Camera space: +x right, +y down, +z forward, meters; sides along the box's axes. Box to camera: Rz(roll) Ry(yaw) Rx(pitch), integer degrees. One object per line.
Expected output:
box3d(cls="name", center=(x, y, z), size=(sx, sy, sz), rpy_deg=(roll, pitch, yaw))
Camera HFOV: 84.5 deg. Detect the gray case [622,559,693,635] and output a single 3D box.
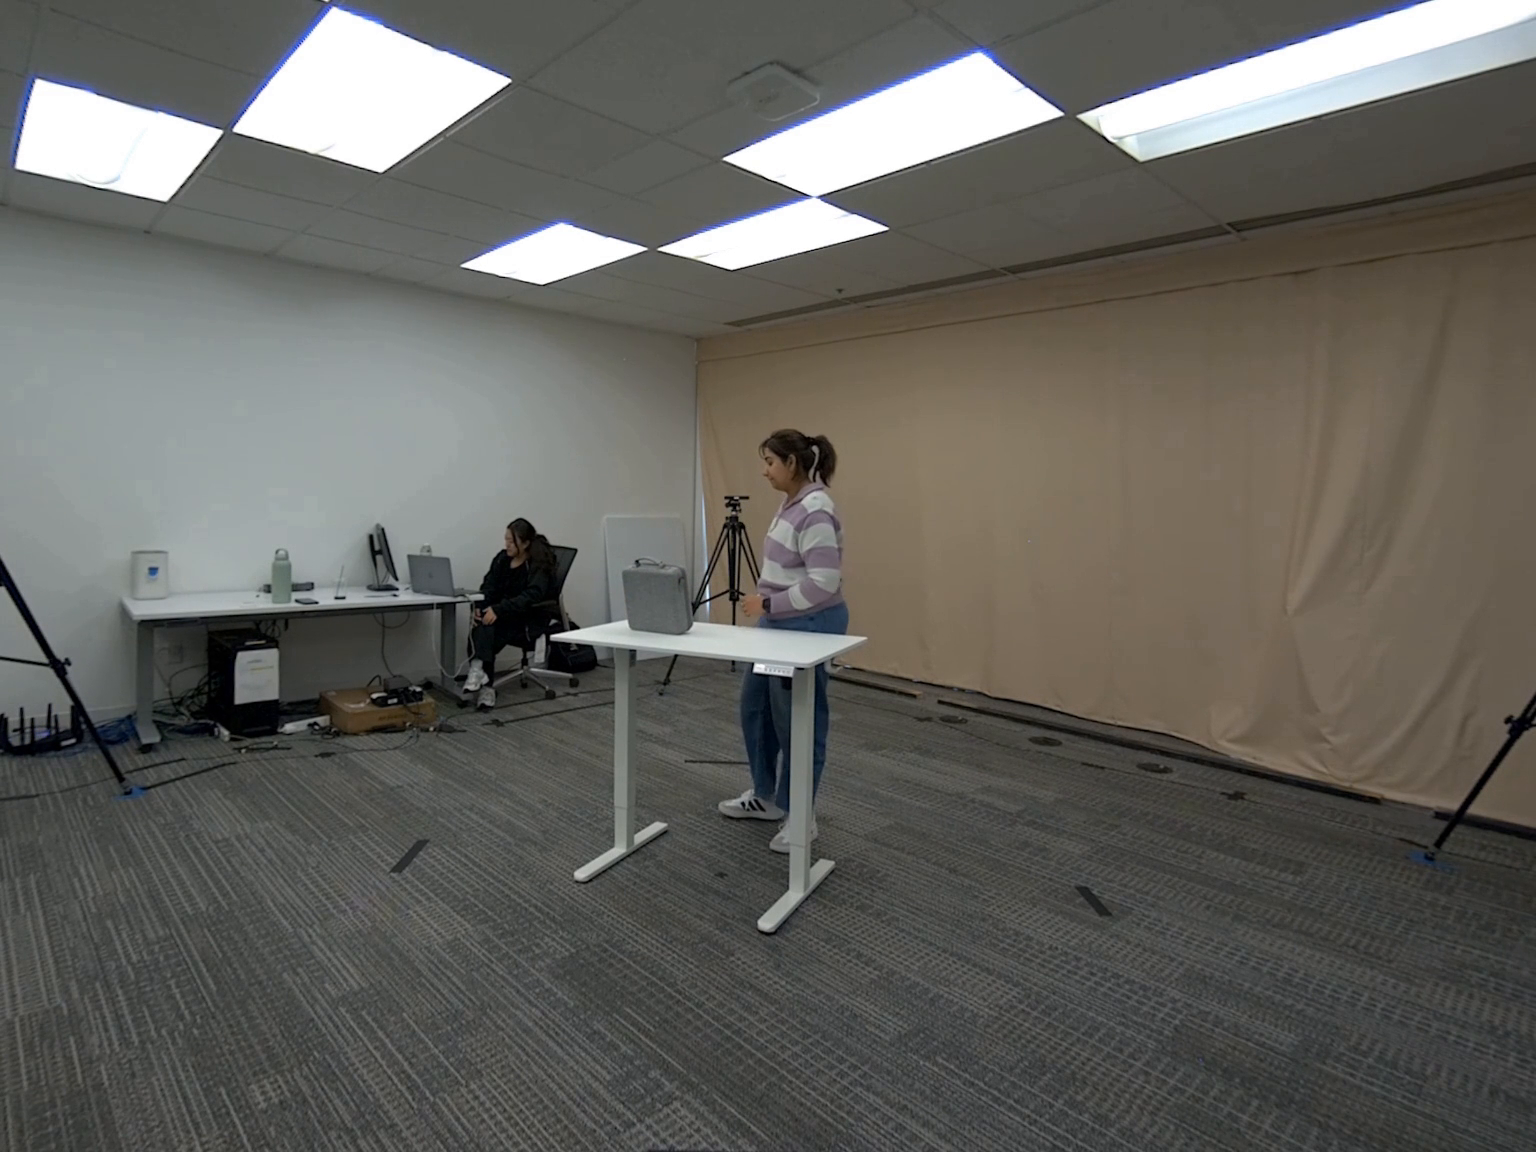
box3d(cls="gray case", center=(-0.417, 0.080, 3.153), size=(0.262, 0.258, 0.103), rpy_deg=(2, 14, 31))
